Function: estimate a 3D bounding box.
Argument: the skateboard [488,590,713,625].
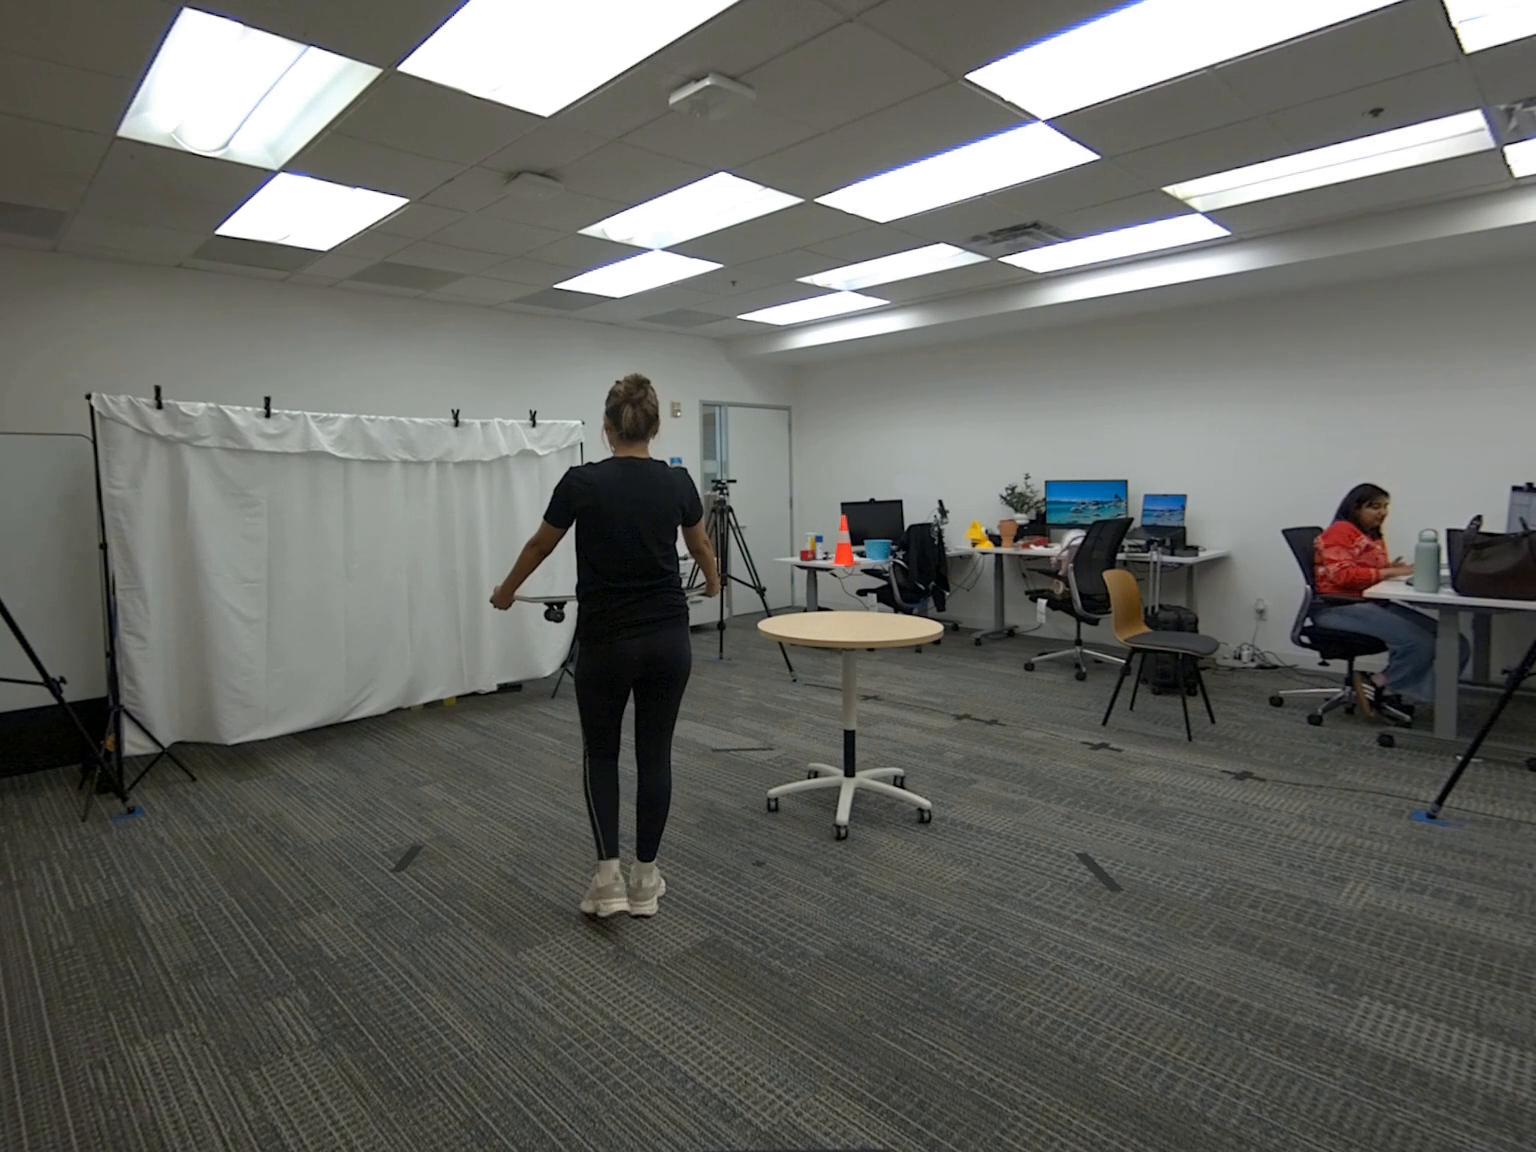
[{"bbox_3d":[-0.608,0.114,3.131,0.770,0.111,0.197,2,-3,-21],"label":"skateboard"}]
